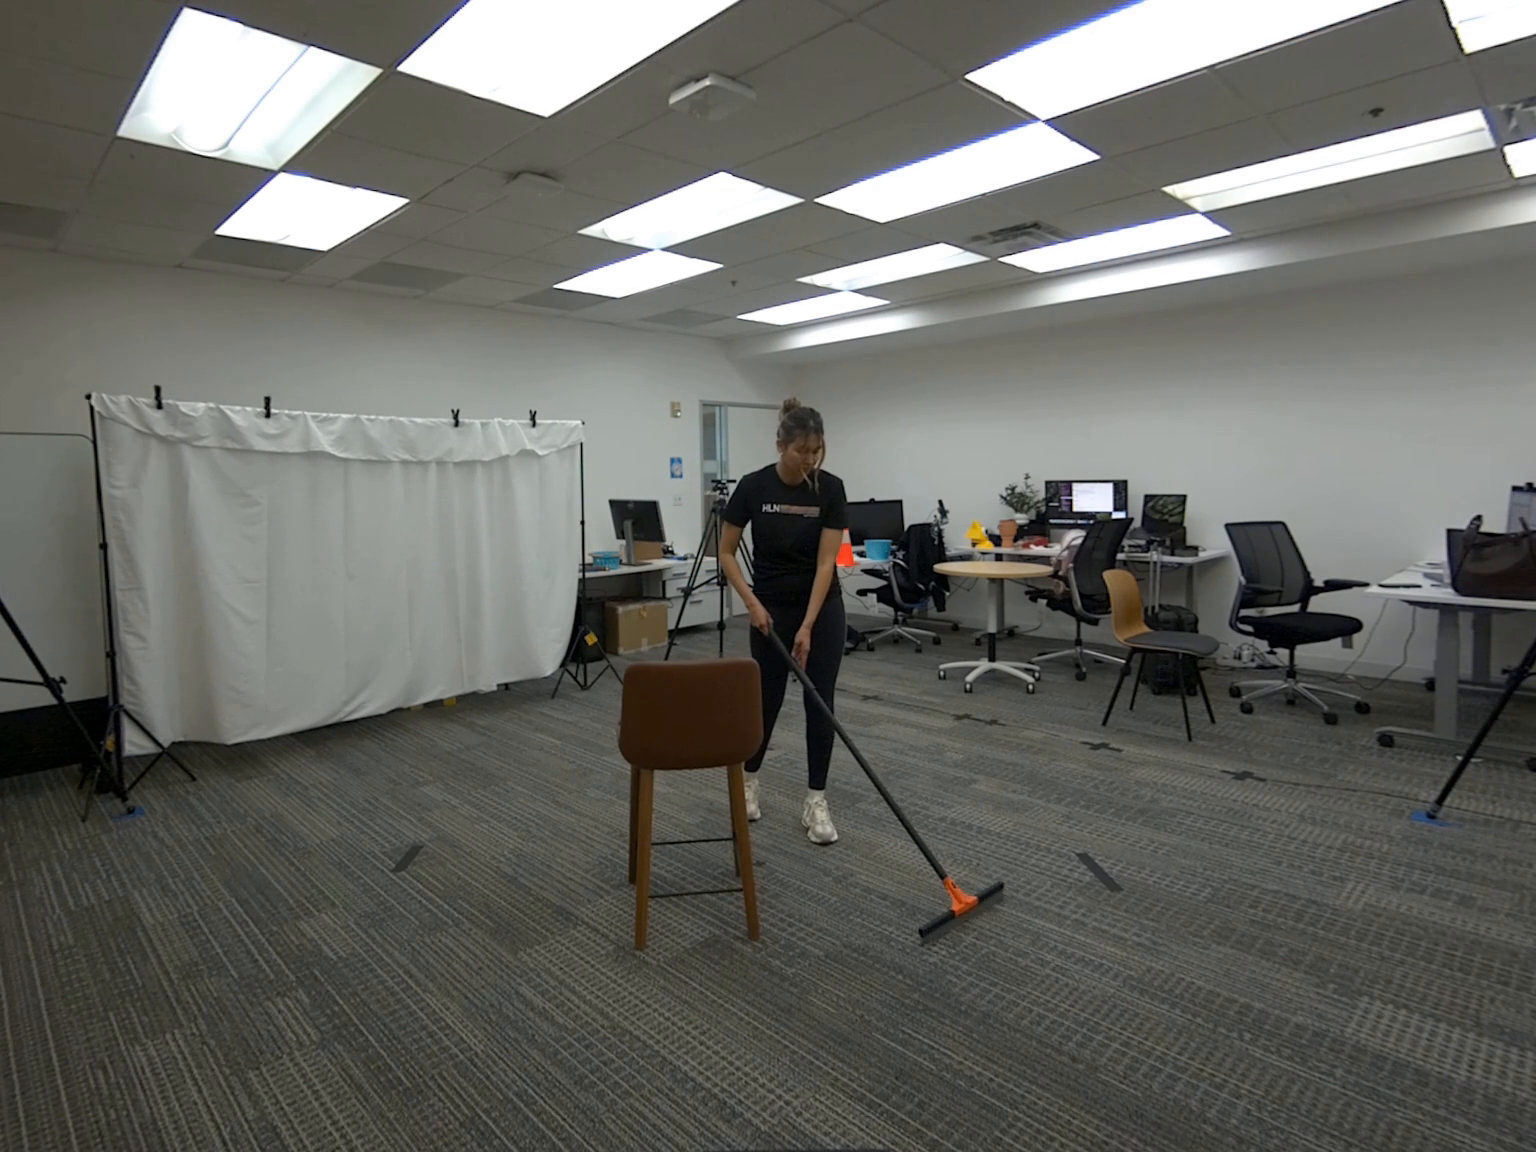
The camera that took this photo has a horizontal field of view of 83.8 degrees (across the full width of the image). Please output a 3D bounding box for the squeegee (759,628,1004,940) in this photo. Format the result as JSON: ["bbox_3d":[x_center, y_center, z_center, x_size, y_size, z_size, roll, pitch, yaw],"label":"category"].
[{"bbox_3d":[0.212,0.478,3.067,0.426,0.052,1.590,-5,49,-41],"label":"squeegee"}]
